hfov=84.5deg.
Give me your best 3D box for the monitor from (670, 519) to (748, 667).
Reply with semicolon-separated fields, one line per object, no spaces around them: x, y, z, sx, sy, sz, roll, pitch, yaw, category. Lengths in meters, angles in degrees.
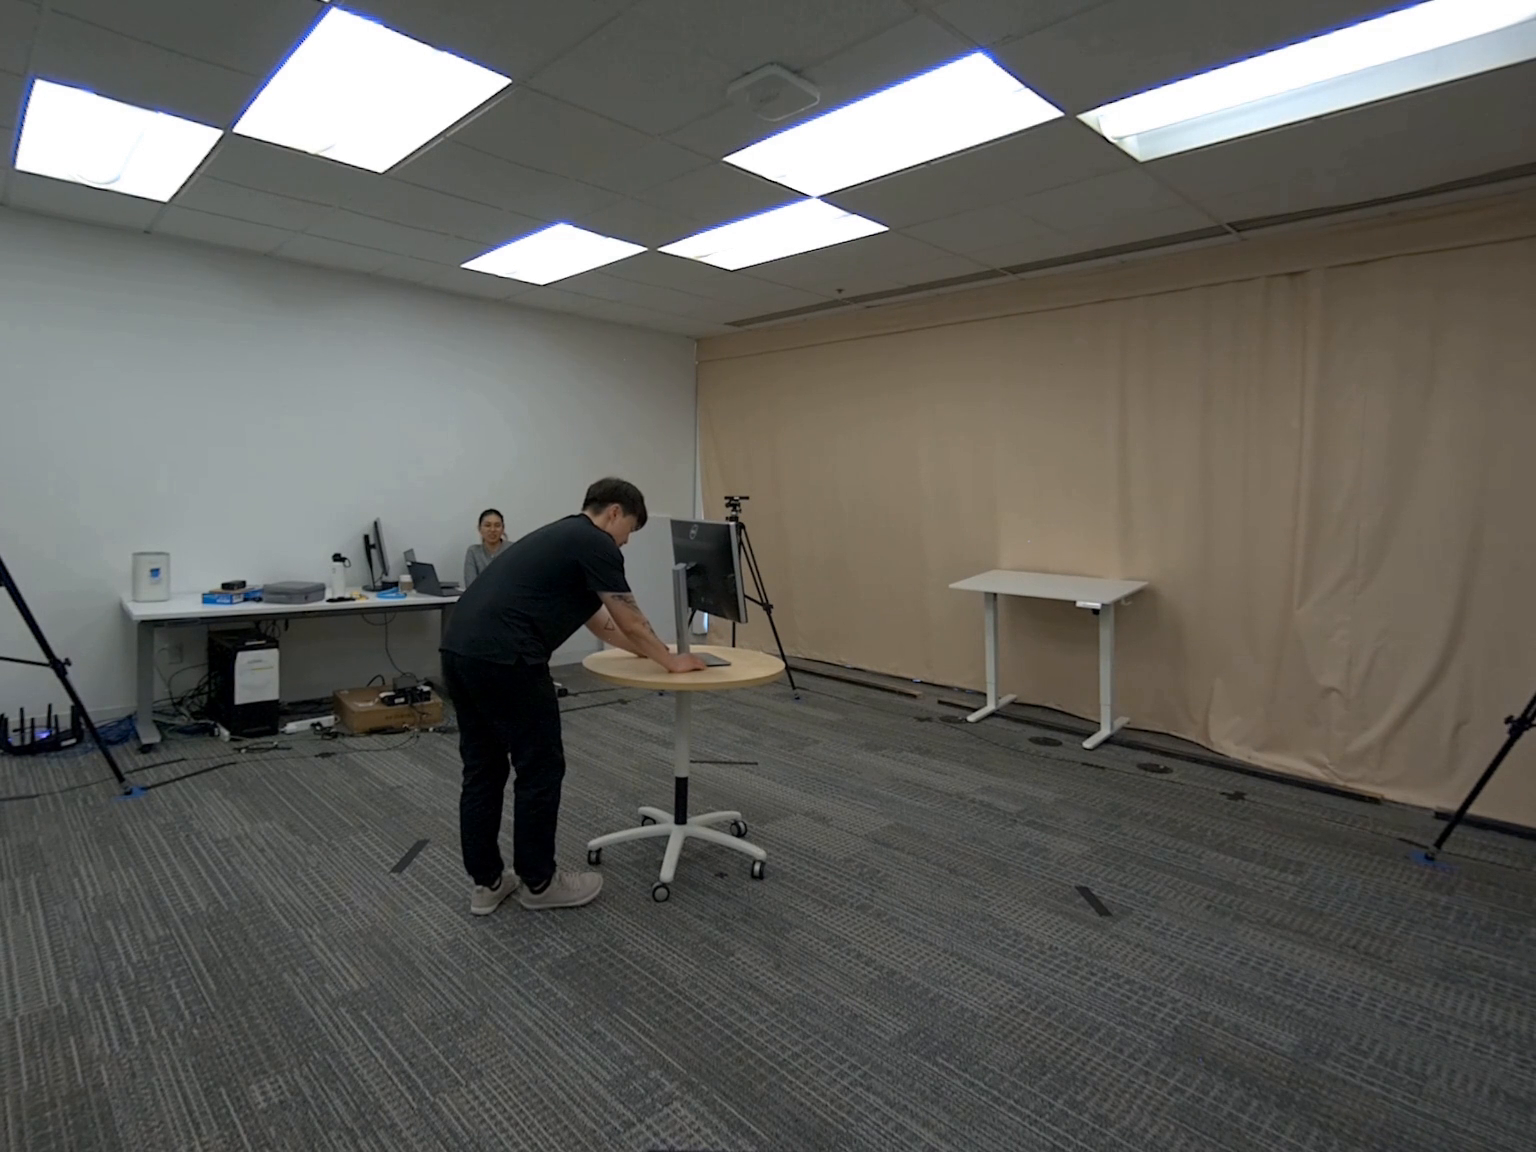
-0.276;0.061;3.202;0.183;0.522;0.551;2;3;-30;monitor
